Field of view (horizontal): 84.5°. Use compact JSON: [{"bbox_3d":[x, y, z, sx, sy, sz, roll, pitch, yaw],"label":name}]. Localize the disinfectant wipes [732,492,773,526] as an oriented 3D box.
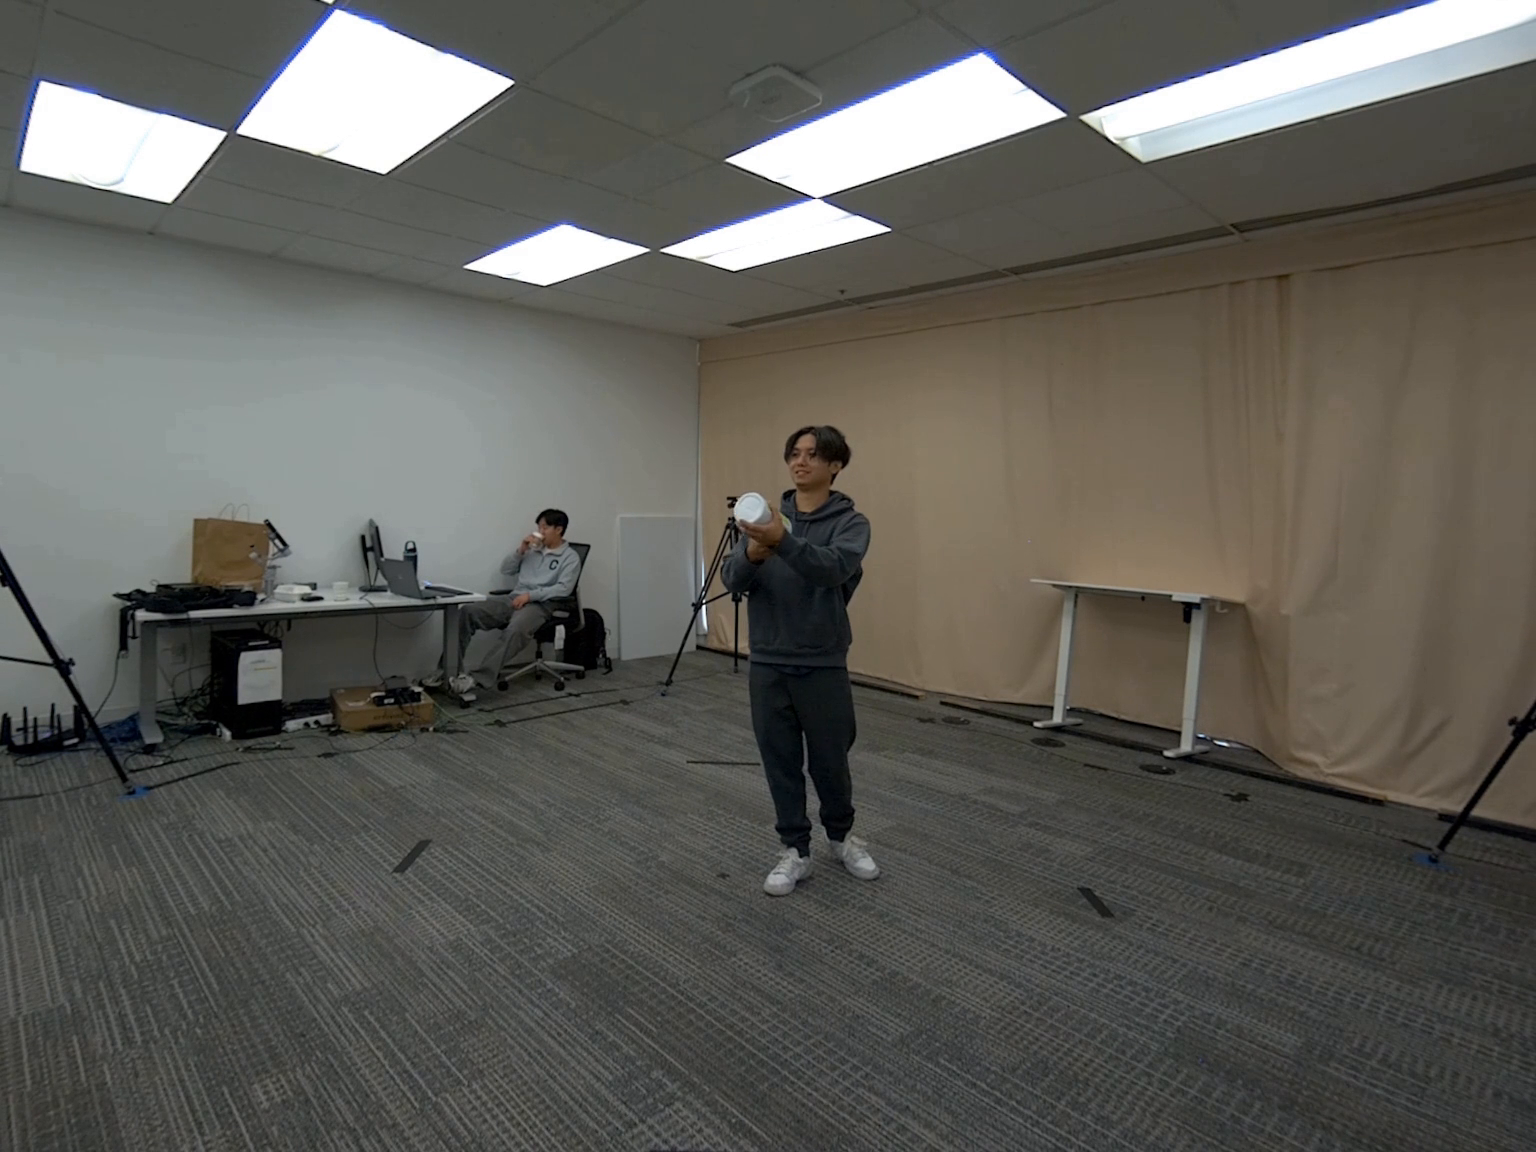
[{"bbox_3d":[-0.023,-0.176,2.692,0.120,0.119,0.211,4,-17,29],"label":"disinfectant wipes"}]
